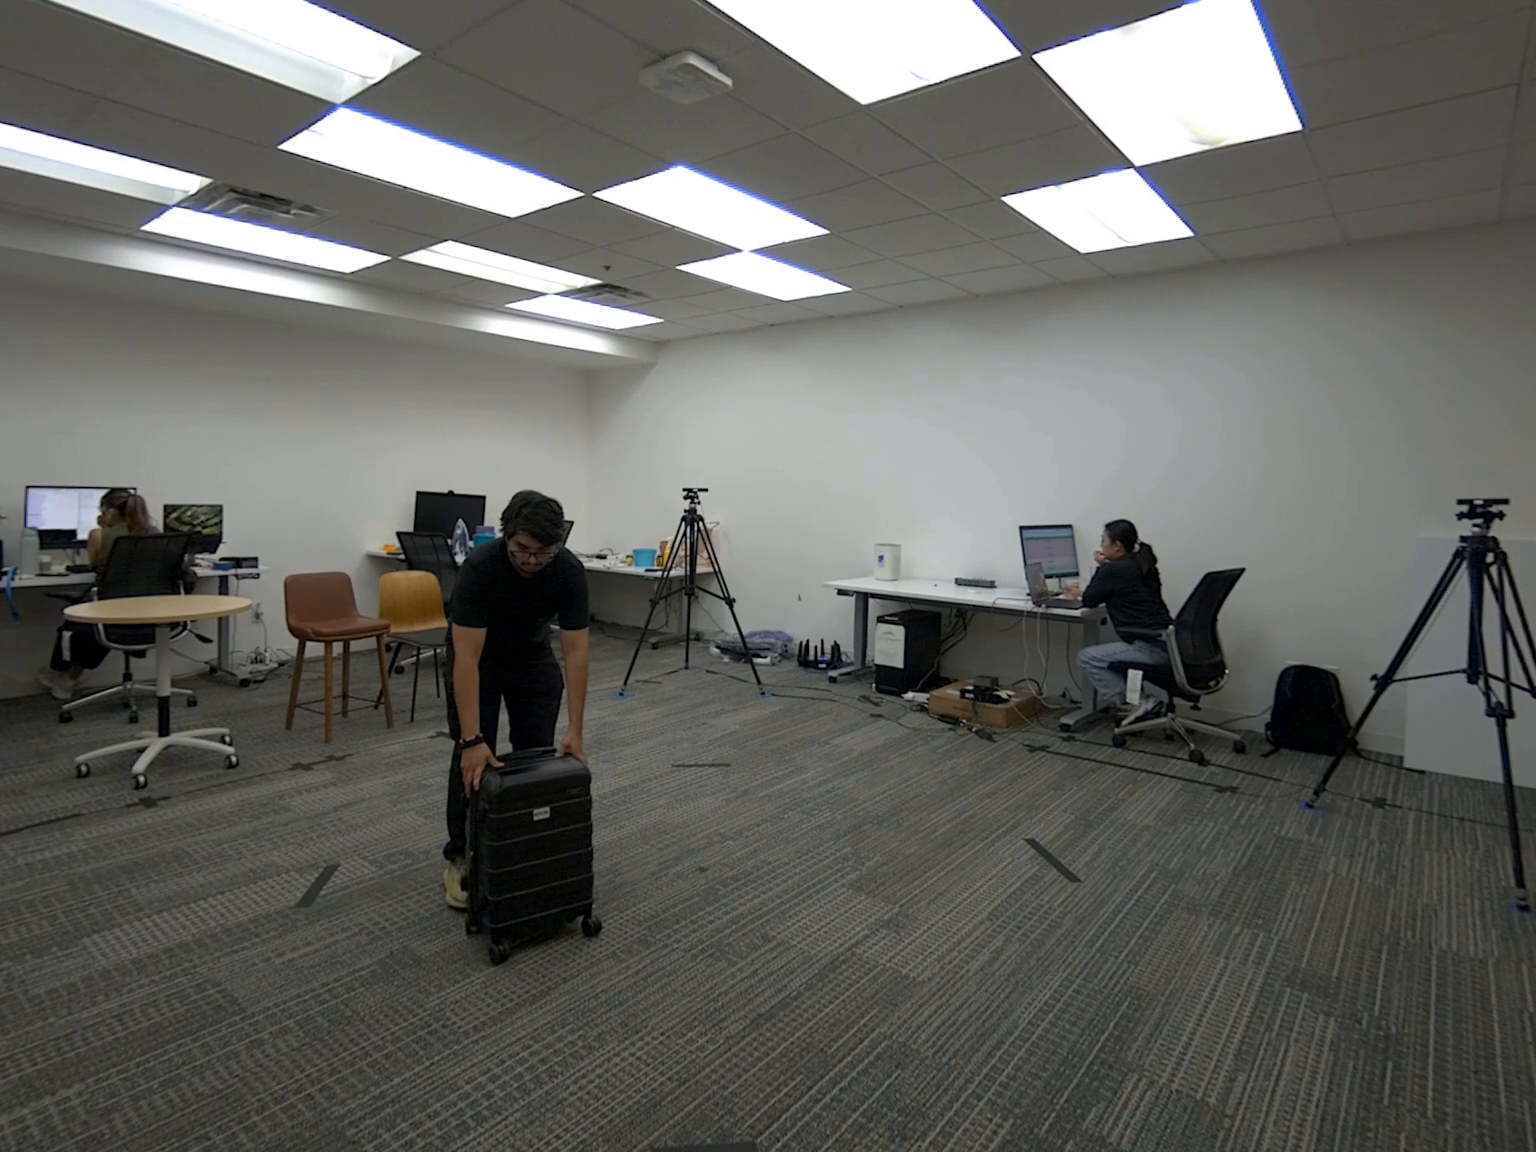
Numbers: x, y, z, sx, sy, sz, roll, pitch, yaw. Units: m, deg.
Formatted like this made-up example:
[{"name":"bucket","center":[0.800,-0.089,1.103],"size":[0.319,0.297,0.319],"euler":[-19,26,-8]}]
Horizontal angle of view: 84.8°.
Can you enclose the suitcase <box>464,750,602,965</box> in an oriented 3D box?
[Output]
[{"name":"suitcase","center":[-0.747,0.830,2.652],"size":[0.364,0.549,0.256],"euler":[-1,2,-36]}]
